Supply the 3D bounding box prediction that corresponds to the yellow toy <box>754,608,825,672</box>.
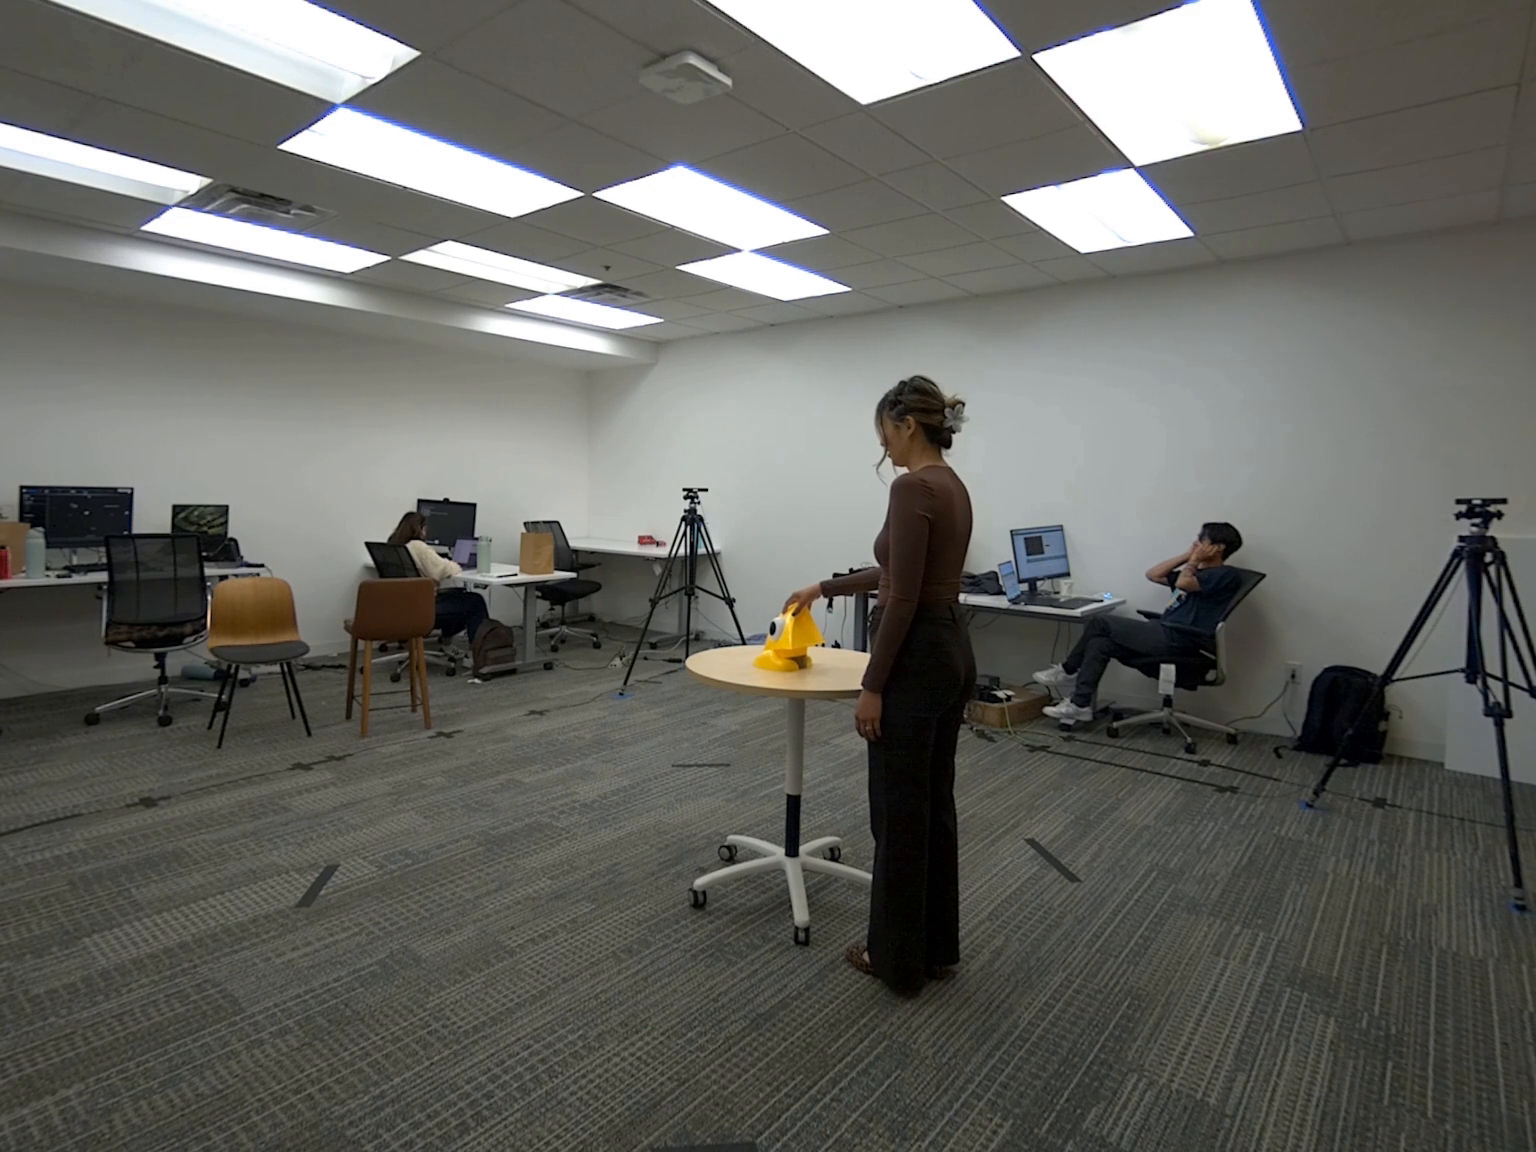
[{"bbox_3d":[0.058,0.186,2.873,0.199,0.230,0.199,3,4,37],"label":"yellow toy"}]
